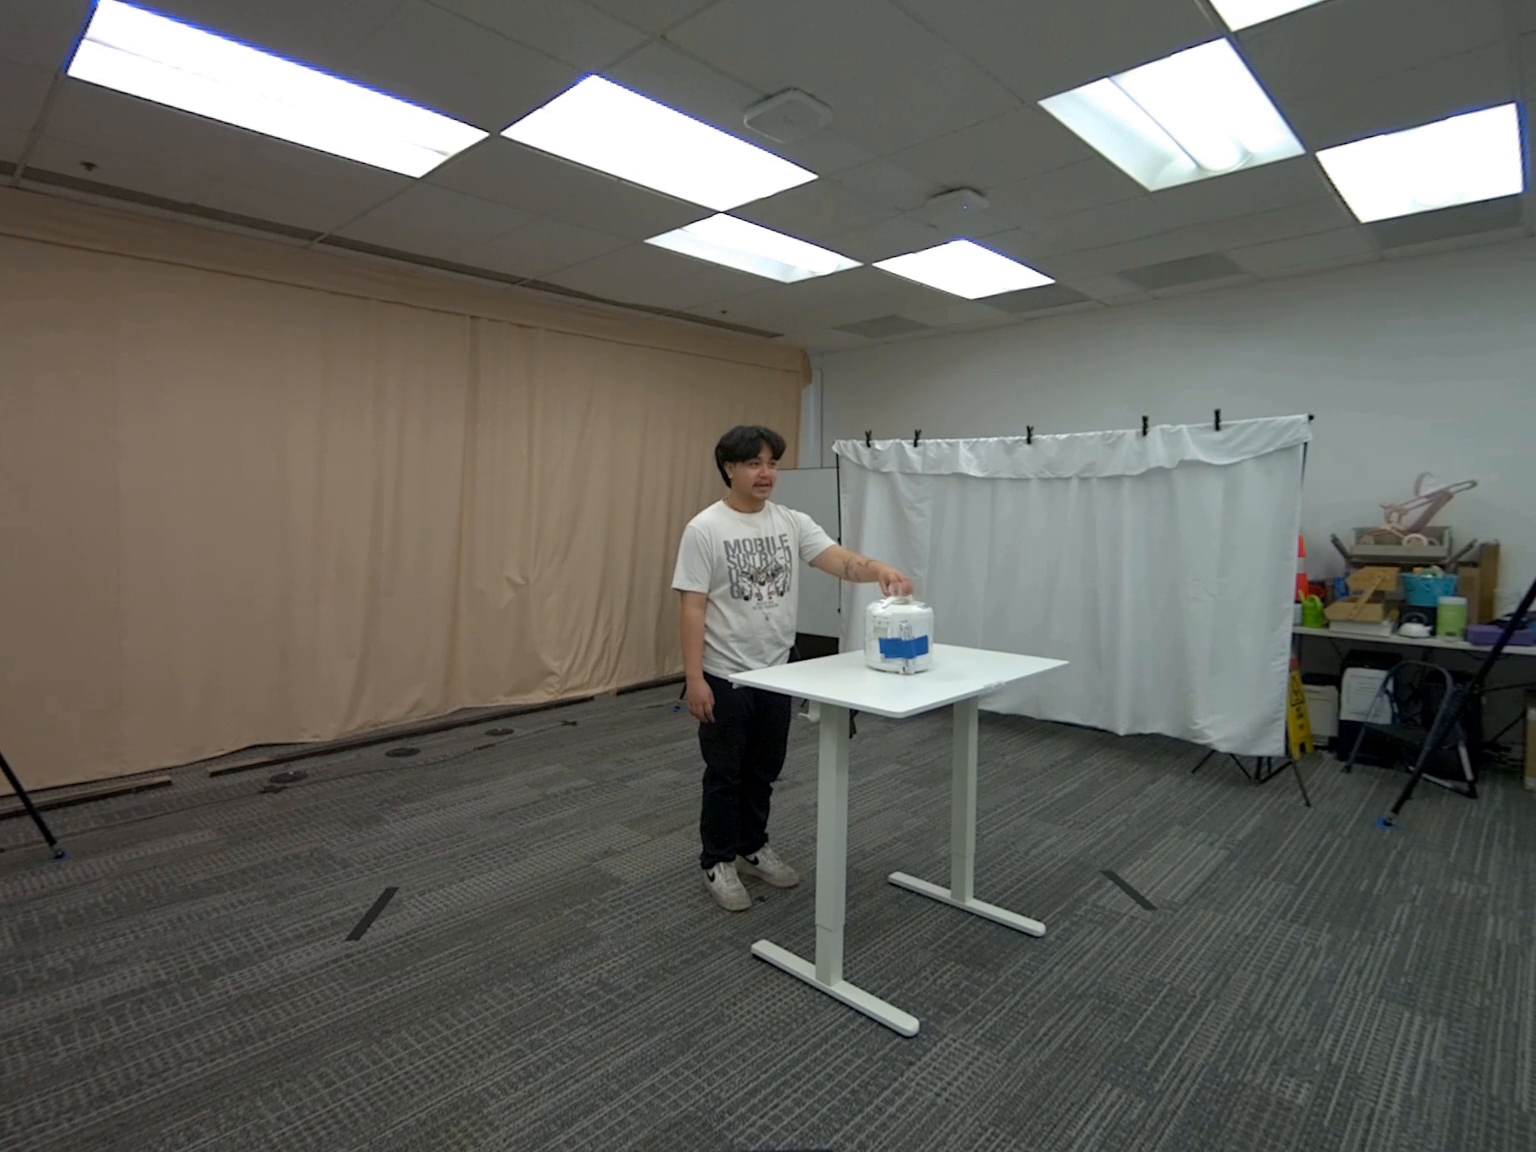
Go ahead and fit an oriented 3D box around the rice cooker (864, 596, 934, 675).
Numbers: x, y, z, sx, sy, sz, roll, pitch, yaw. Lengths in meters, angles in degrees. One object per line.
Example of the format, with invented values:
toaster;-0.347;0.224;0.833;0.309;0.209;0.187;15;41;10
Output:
rice cooker;0.411;0.176;2.616;0.225;0.232;0.214;5;5;42
